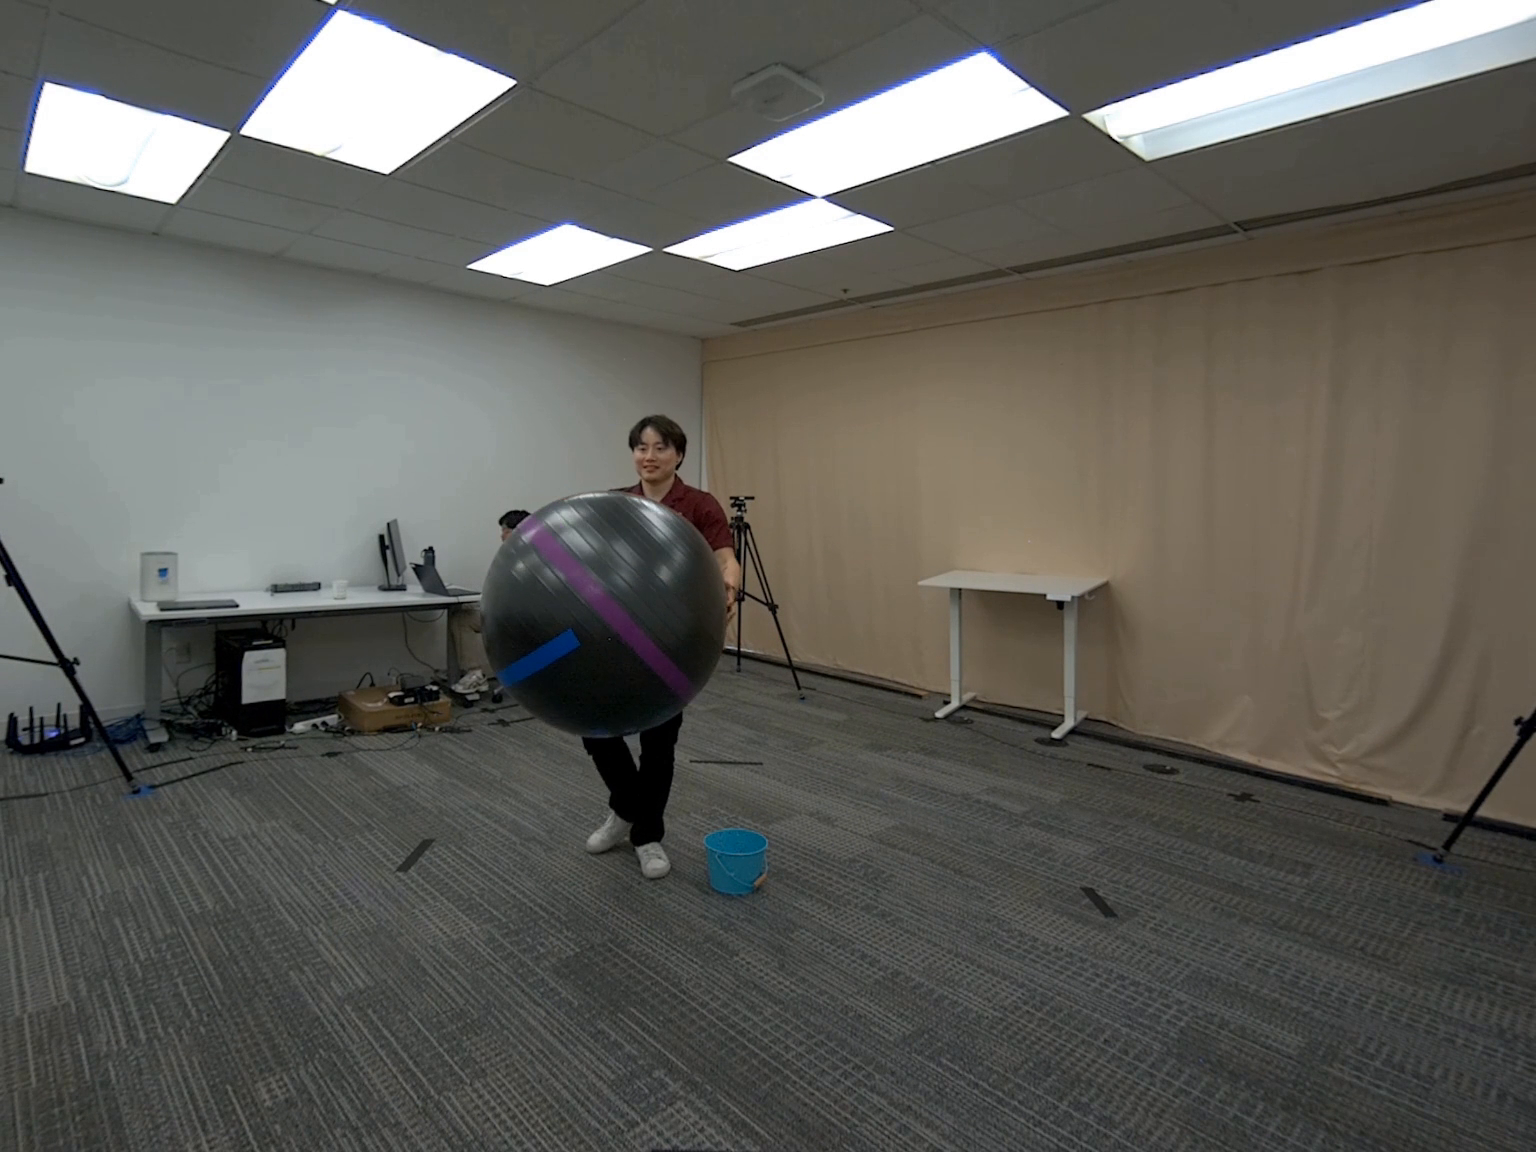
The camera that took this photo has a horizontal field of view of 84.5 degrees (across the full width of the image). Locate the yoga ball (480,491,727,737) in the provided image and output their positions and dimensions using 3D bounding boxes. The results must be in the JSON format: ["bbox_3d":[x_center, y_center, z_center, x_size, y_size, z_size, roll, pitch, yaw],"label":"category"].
[{"bbox_3d":[-0.514,0.116,2.627,0.757,0.756,0.761,1,4,-1],"label":"yoga ball"}]
